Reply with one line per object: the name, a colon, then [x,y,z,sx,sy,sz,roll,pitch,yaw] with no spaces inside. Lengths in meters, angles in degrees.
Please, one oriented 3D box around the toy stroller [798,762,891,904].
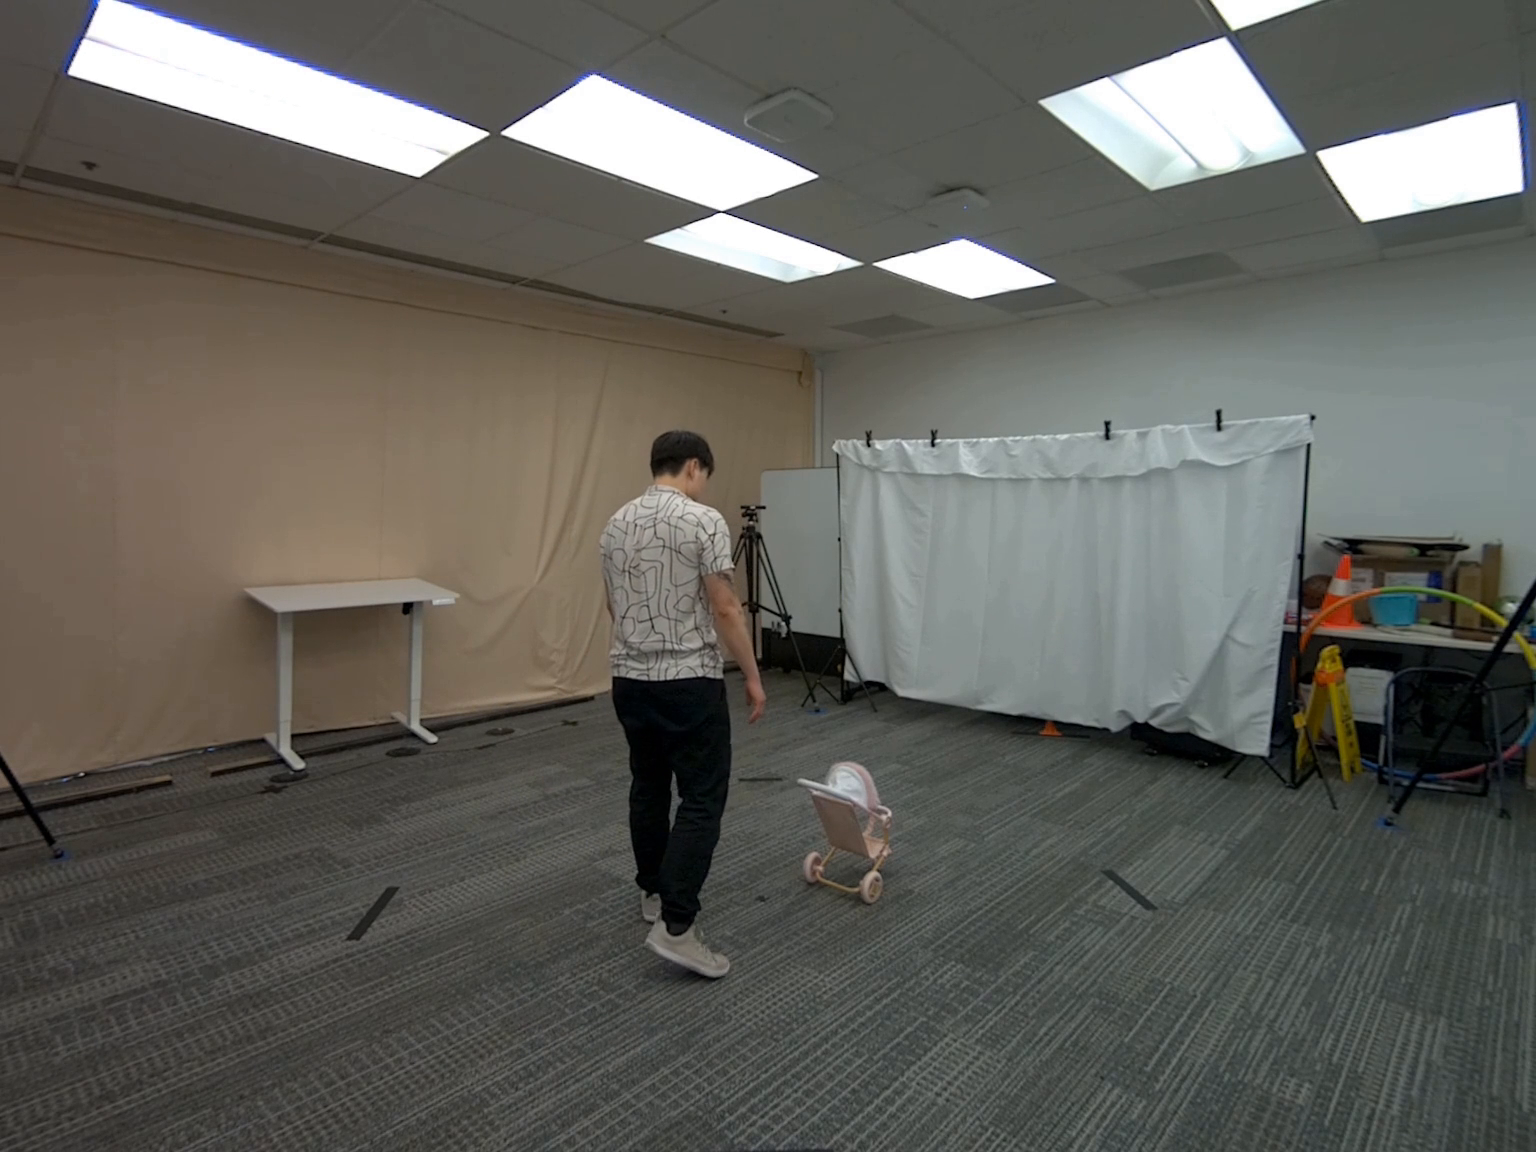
toy stroller: [0.306,0.908,3.067,0.291,0.529,0.334,4,20,43]
